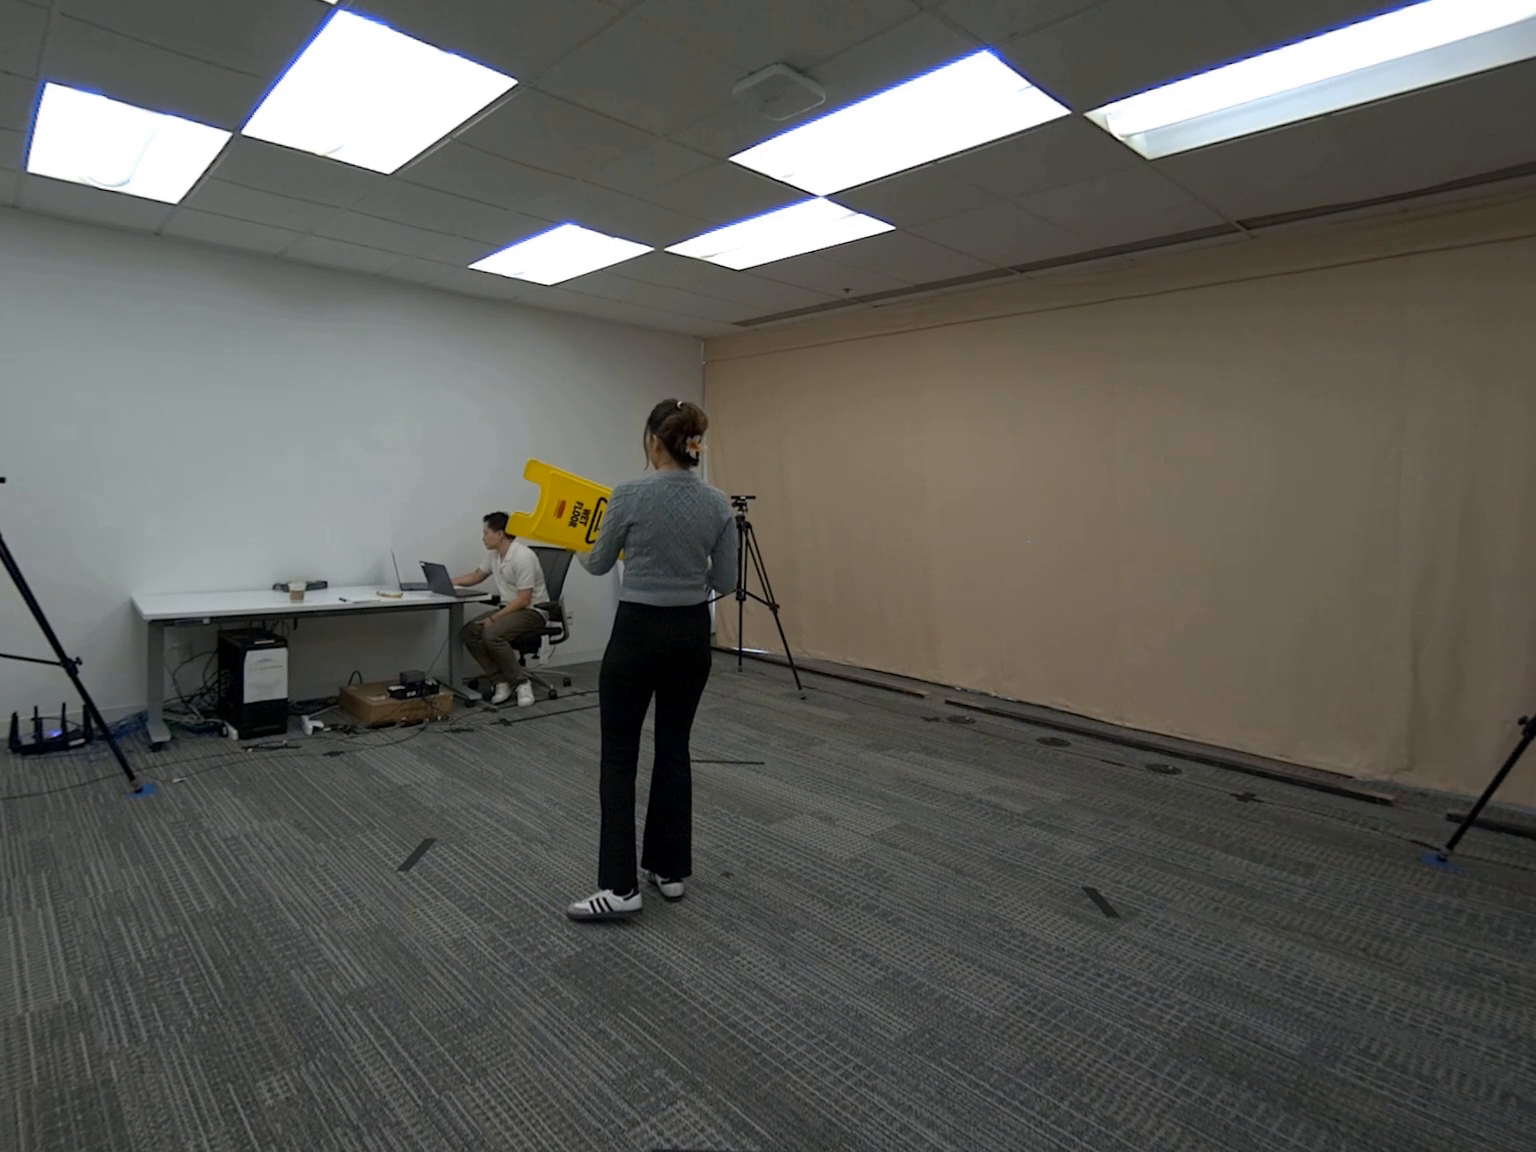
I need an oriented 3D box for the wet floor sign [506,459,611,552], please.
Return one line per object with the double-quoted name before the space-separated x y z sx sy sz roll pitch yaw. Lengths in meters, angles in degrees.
"wet floor sign" -0.626 -0.205 3.163 0.638 0.282 0.293 18 1 -13
